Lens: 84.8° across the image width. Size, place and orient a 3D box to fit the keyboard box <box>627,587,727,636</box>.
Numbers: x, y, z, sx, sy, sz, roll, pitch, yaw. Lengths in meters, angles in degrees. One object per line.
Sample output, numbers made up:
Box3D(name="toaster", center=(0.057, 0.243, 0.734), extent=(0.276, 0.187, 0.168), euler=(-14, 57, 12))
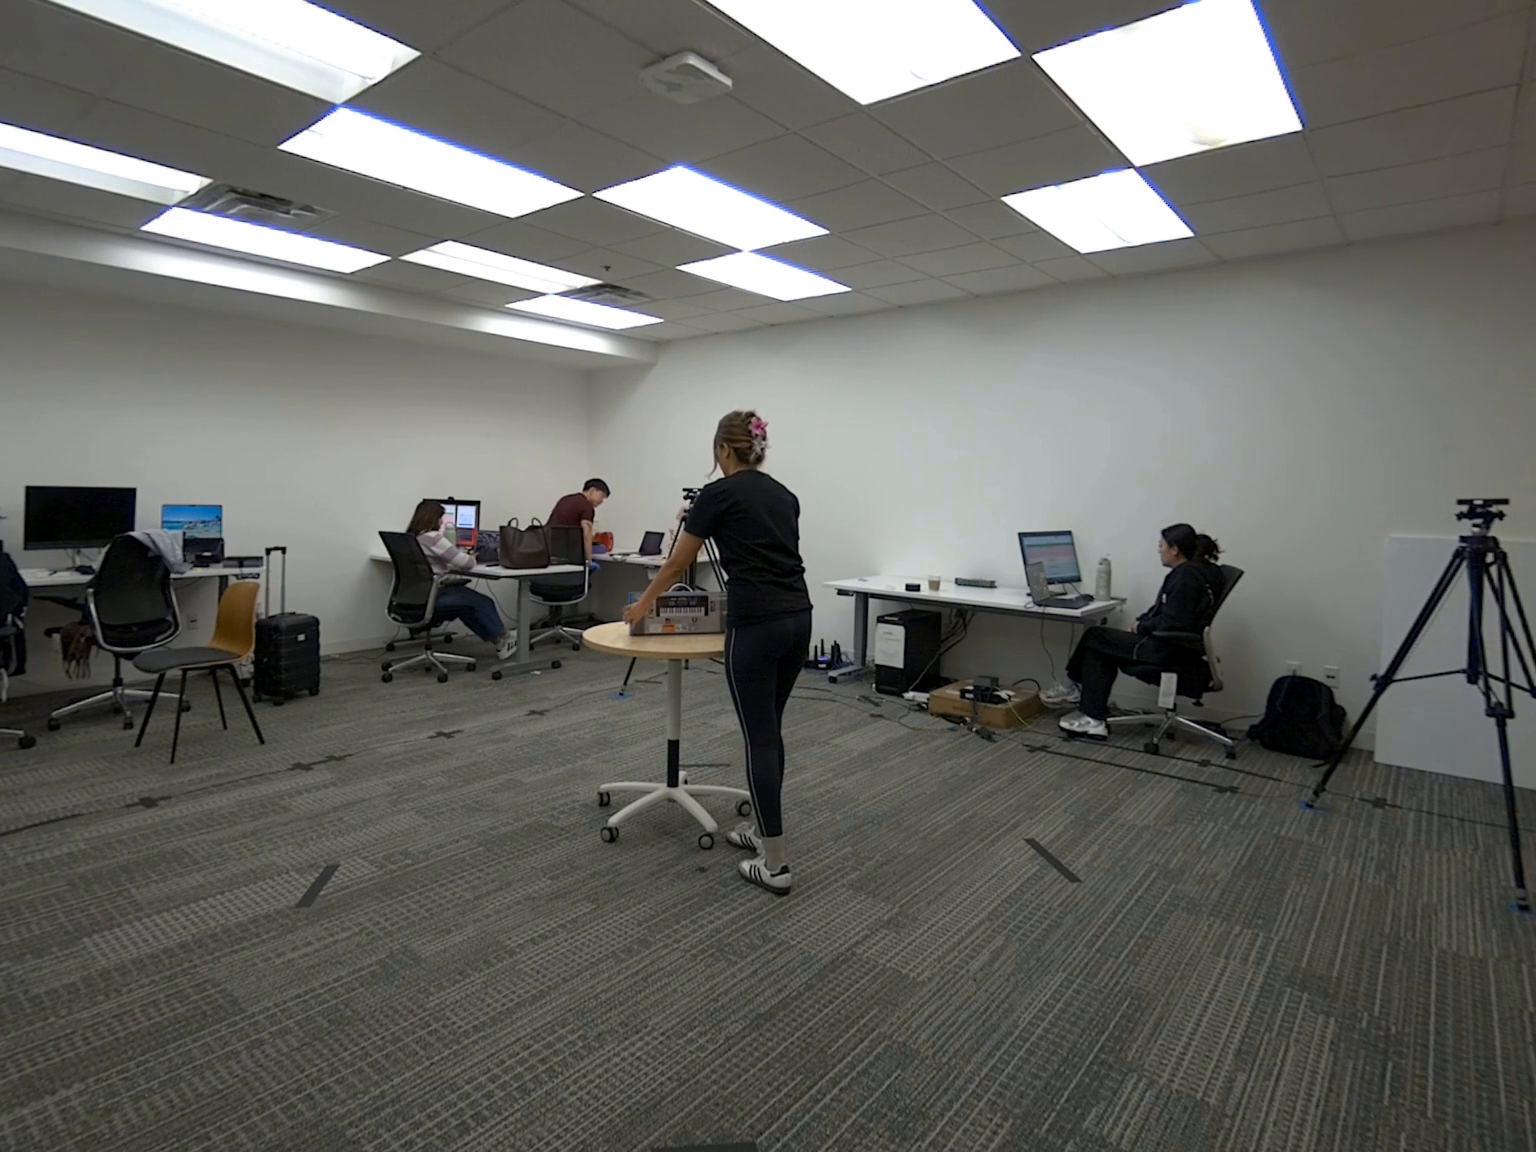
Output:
Box3D(name="keyboard box", center=(-0.378, 0.148, 3.568), extent=(0.429, 0.176, 0.060), euler=(-1, 0, -17))
